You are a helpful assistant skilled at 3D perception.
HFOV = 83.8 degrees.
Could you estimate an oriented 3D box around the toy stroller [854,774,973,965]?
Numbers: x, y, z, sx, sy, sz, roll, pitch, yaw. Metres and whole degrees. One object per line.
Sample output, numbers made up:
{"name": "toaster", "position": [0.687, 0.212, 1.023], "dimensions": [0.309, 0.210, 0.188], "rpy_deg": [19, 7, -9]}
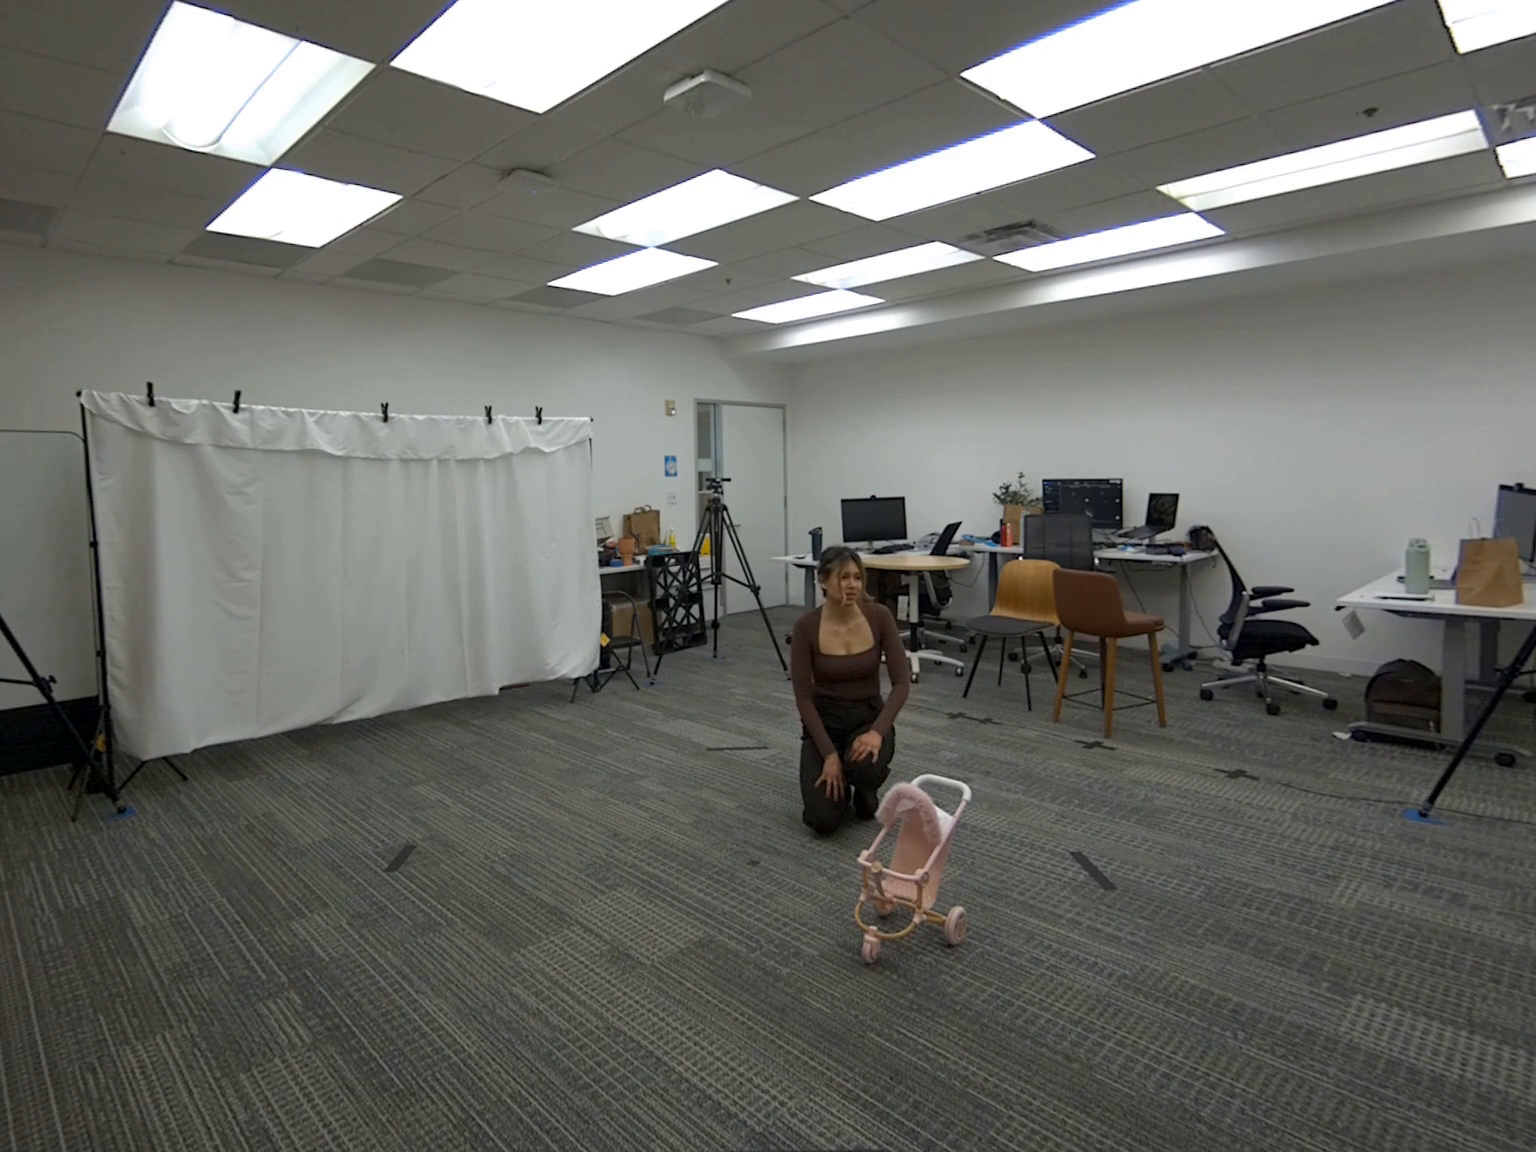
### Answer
{"name": "toy stroller", "position": [0.421, 0.875, 2.580], "dimensions": [0.329, 0.538, 0.290], "rpy_deg": [17, -10, -42]}
